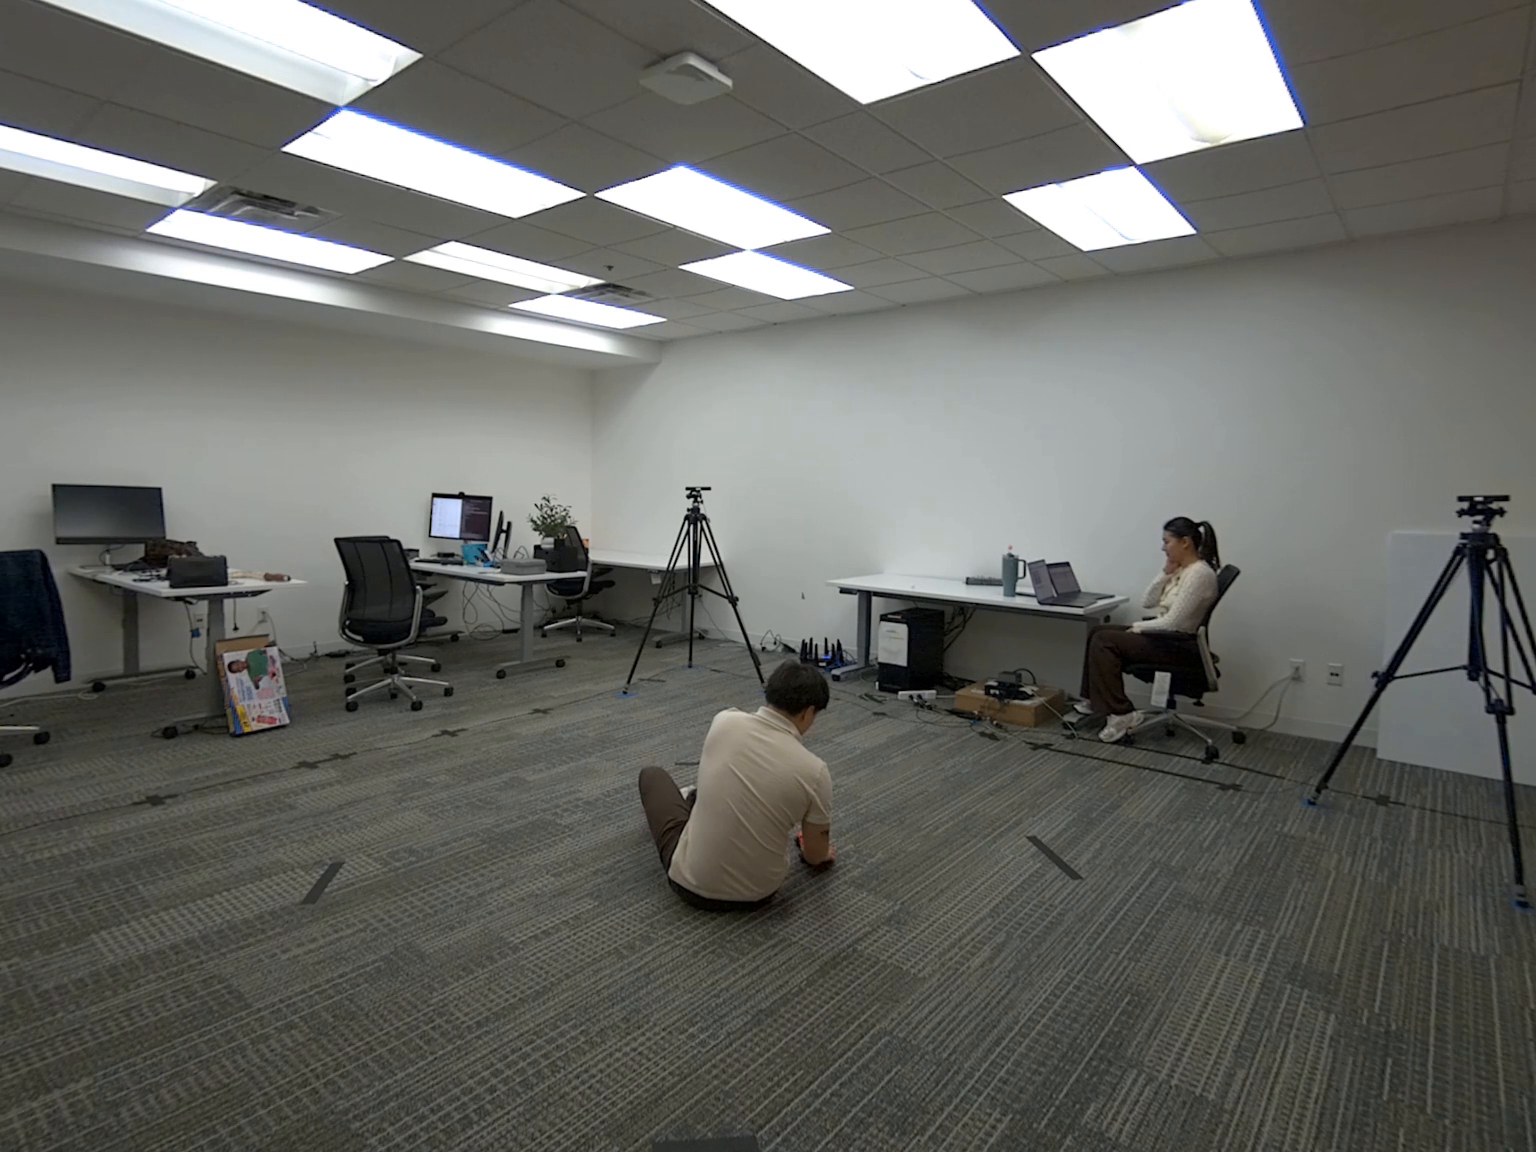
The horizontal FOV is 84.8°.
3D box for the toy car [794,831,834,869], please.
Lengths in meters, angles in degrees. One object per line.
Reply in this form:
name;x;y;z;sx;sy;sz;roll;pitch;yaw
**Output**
toy car;0.166;1.032;3.226;0.130;0.084;0.254;1;-5;-4
